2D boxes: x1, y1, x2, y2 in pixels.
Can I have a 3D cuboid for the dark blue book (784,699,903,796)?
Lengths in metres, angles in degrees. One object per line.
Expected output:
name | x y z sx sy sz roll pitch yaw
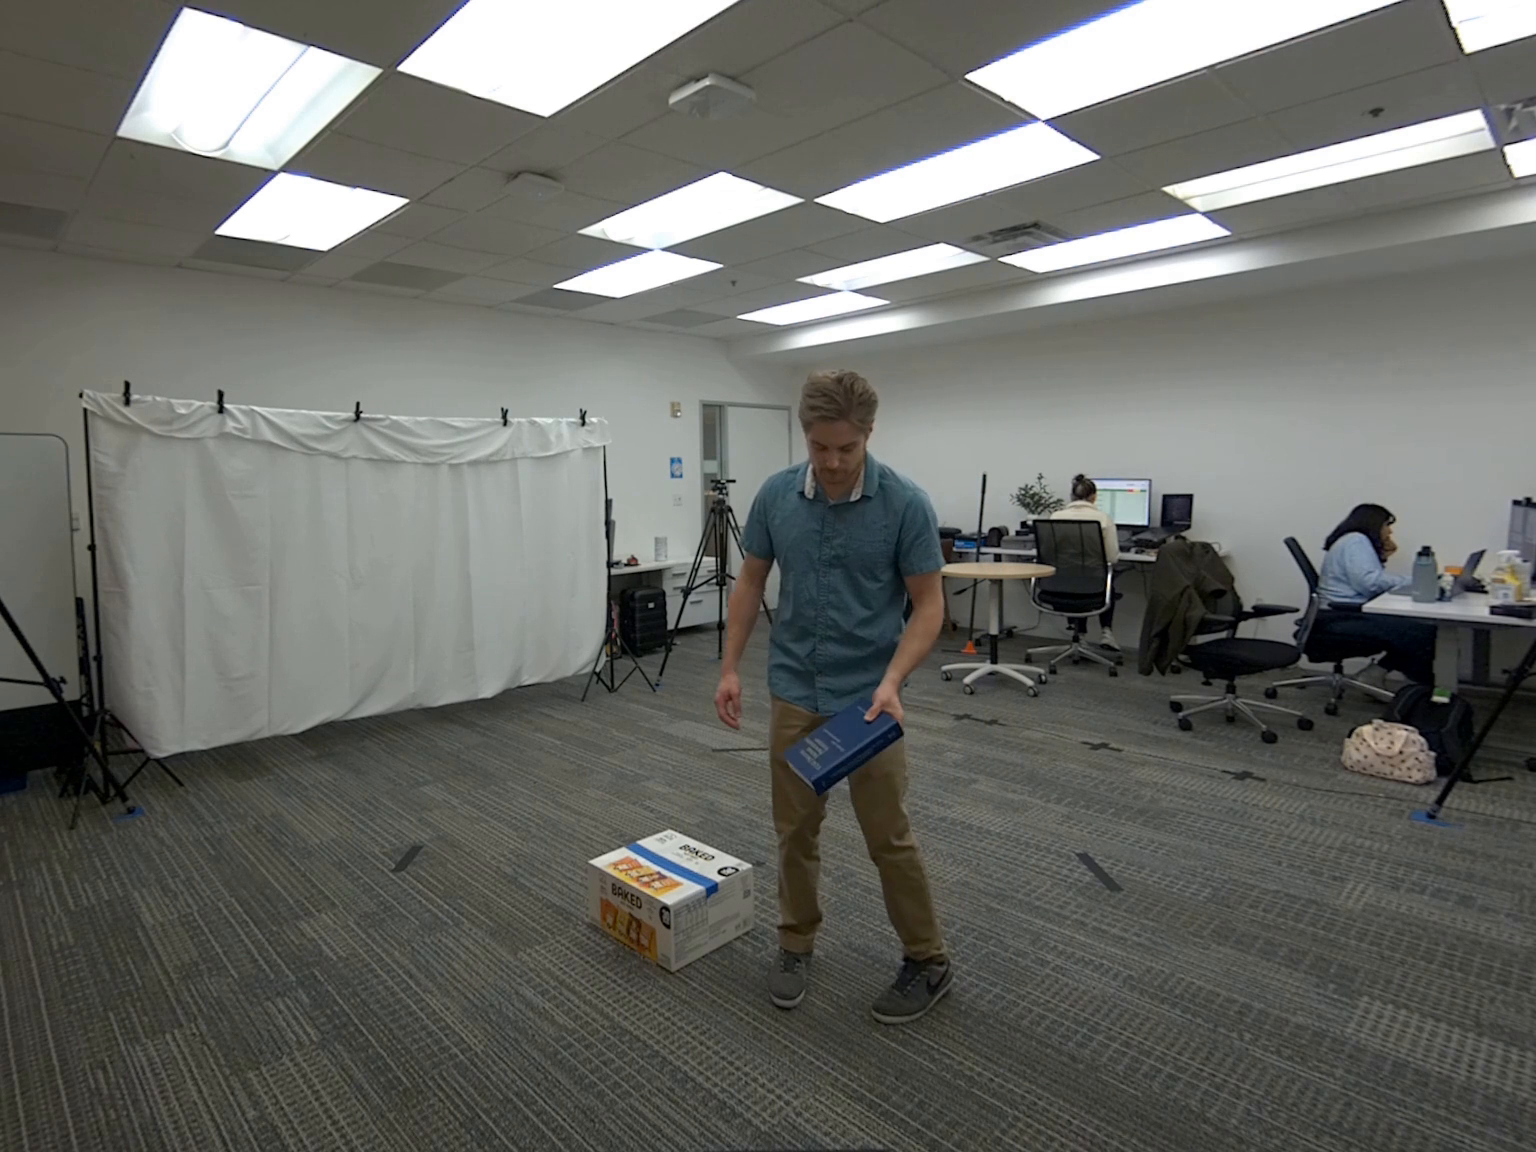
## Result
dark blue book | 0.174 0.392 1.974 0.244 0.044 0.168 -33 21 -13
